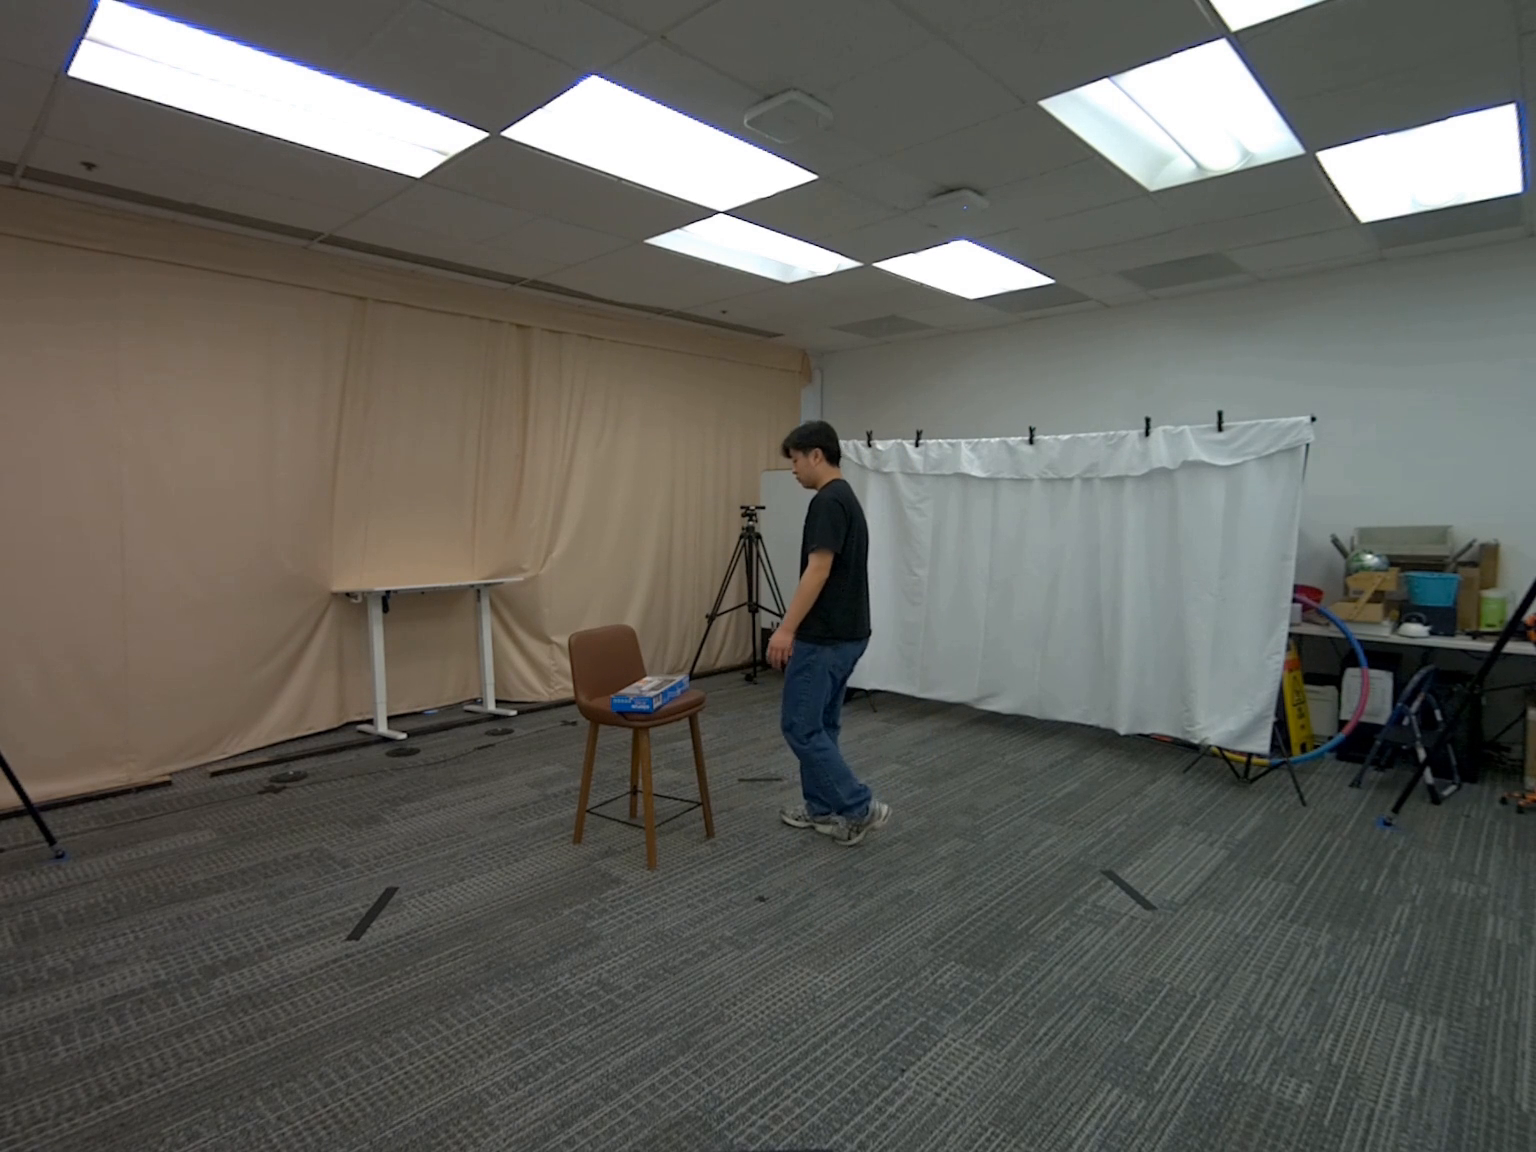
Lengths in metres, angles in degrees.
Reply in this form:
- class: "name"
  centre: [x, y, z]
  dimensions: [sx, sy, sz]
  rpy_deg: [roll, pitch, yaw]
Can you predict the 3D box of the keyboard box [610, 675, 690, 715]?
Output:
- class: "keyboard box"
  centre: [-0.469, 0.468, 3.413]
  dimensions: [0.179, 0.059, 0.430]
  rpy_deg: [-1, 5, 15]
